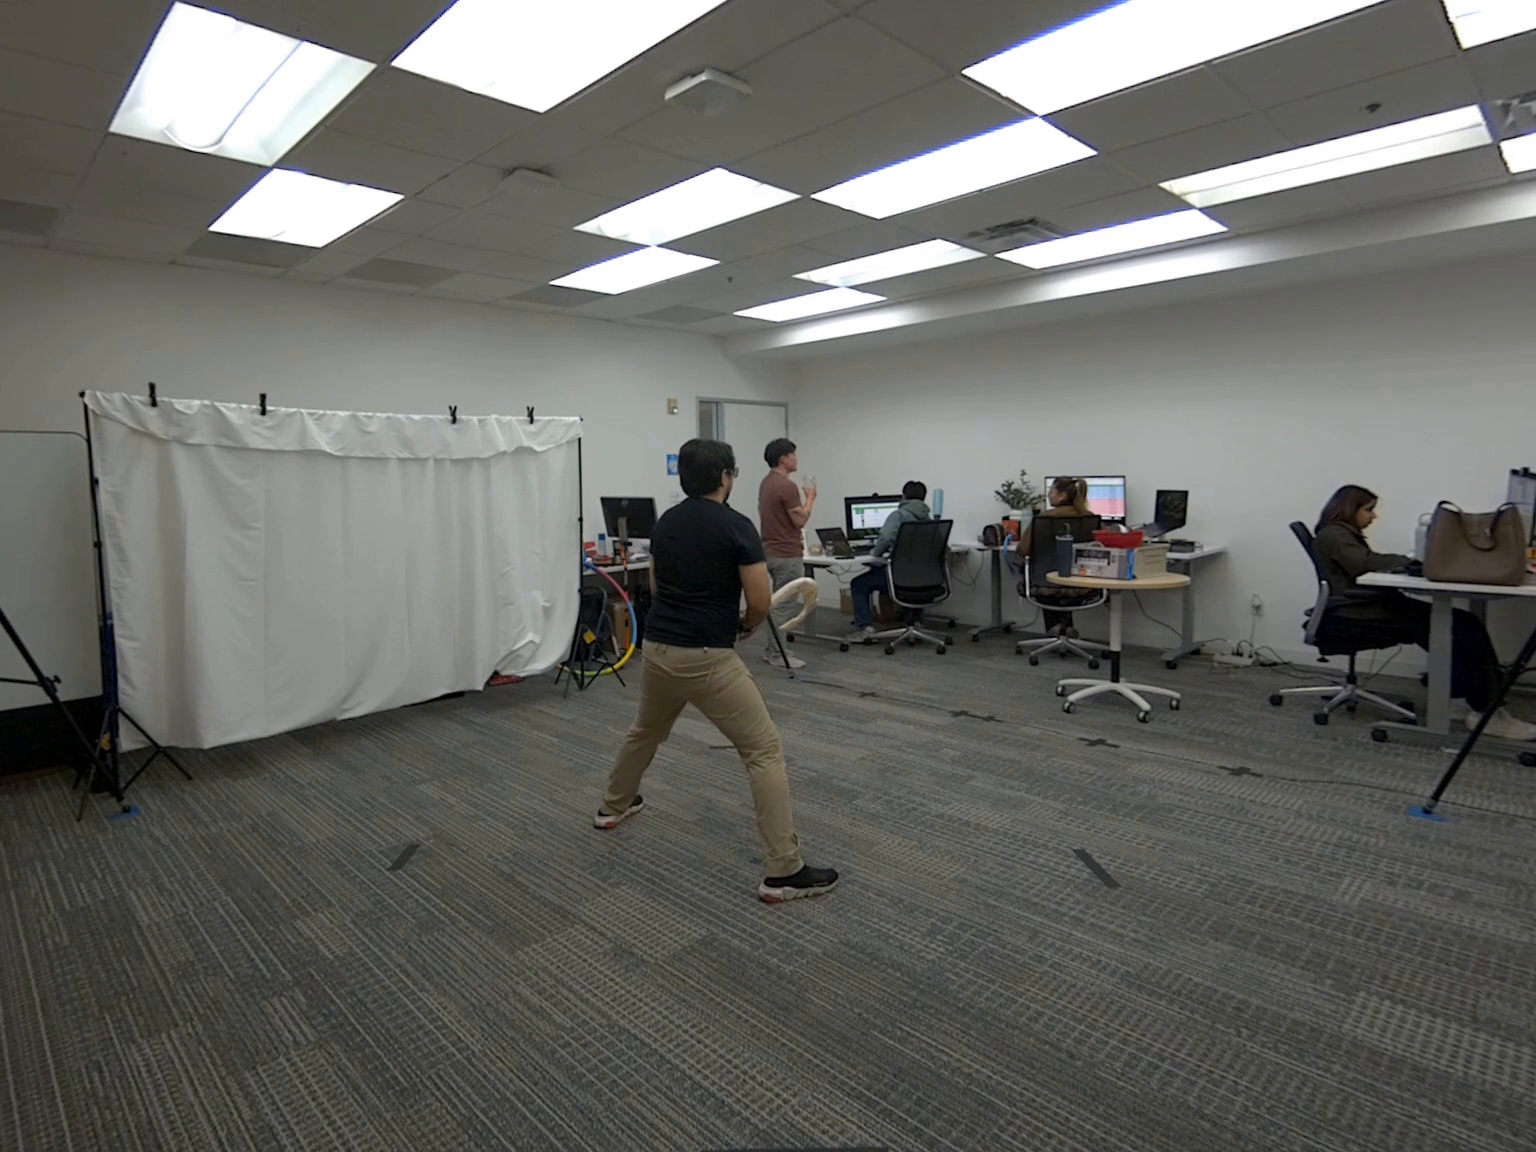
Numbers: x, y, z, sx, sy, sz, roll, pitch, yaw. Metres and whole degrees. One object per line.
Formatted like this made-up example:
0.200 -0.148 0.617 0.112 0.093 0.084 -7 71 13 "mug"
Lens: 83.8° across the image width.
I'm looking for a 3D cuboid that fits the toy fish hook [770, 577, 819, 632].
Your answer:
0.007 0.183 3.430 0.502 0.218 0.050 -28 34 -23 "toy fish hook"
